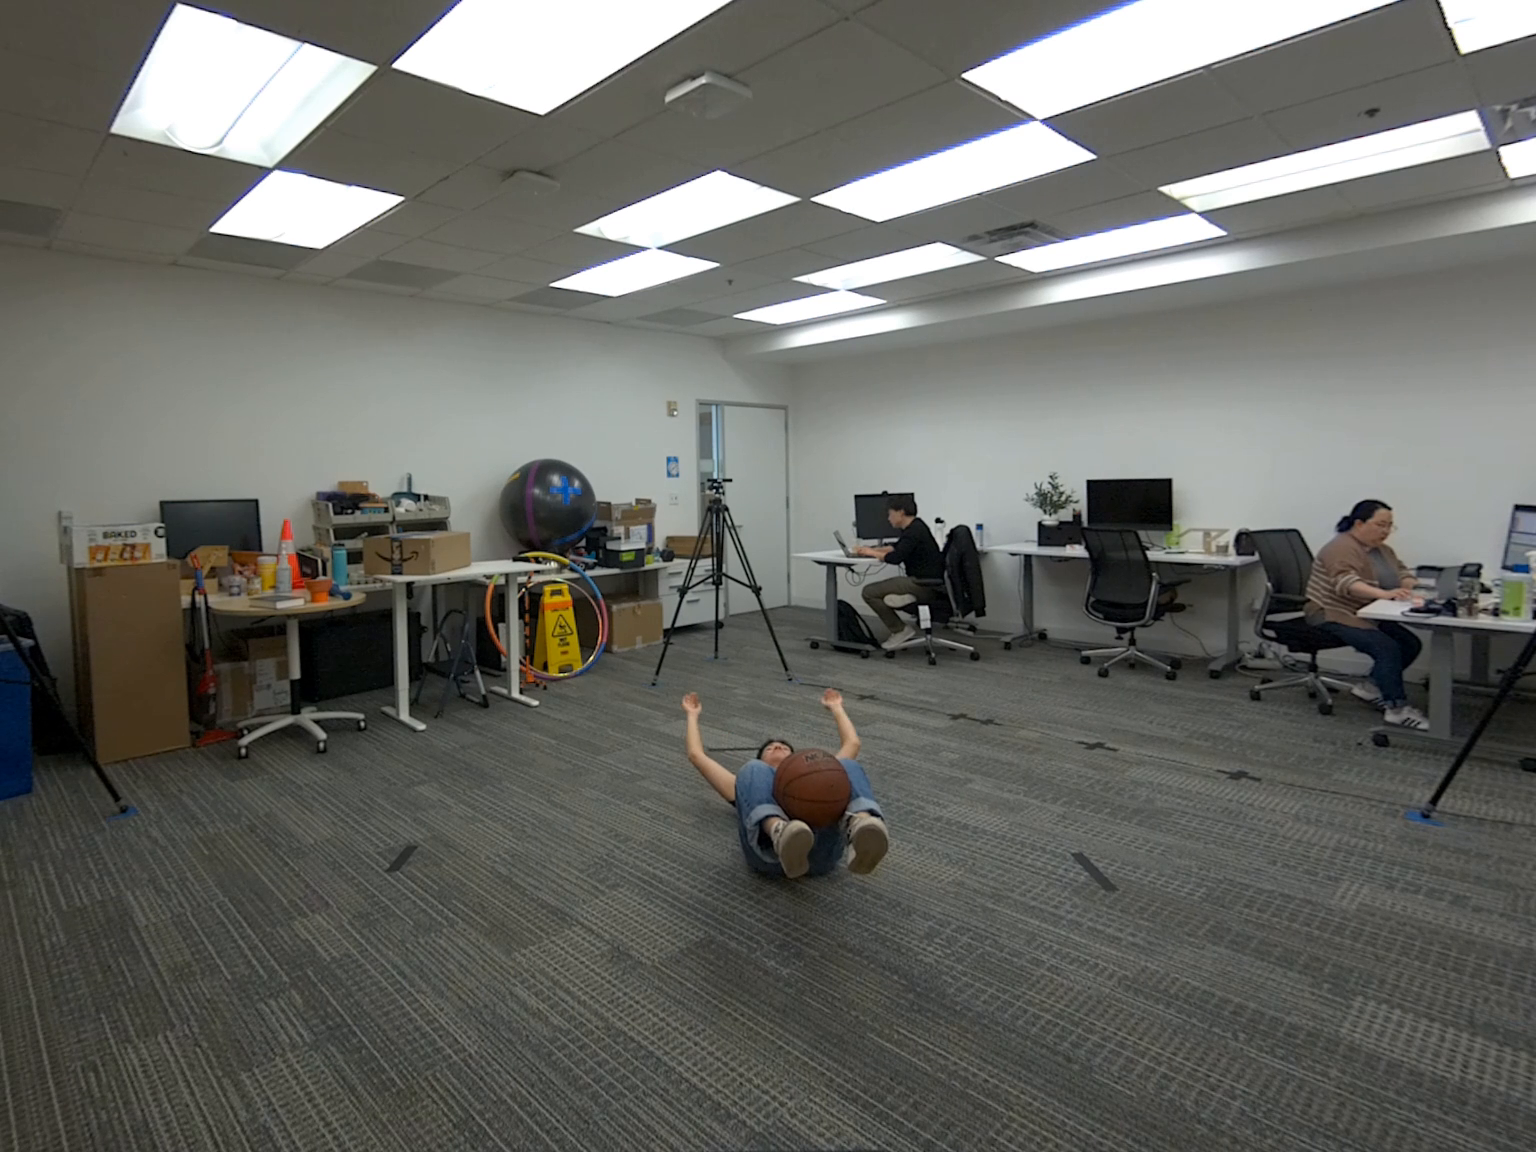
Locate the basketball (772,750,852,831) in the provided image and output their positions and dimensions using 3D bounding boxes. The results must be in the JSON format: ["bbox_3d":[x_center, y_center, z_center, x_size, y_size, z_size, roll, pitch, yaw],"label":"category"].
[{"bbox_3d":[0.136,0.647,2.628,0.236,0.235,0.237,-1,5,-2],"label":"basketball"}]
